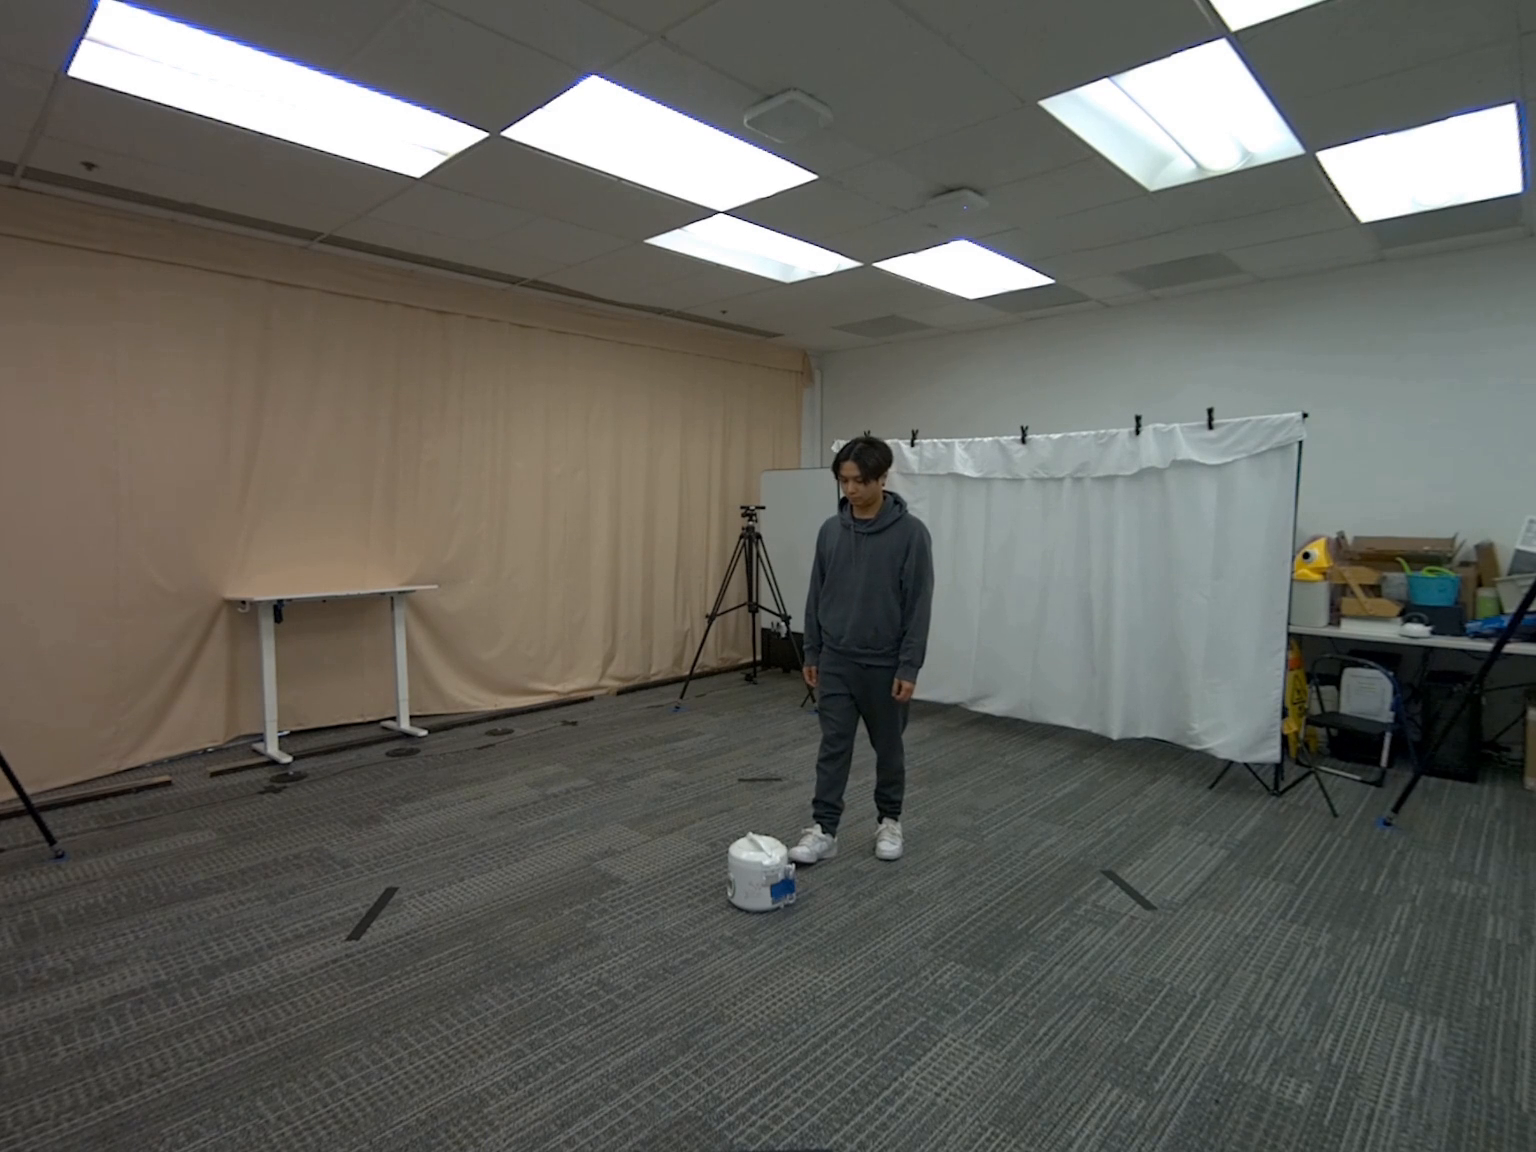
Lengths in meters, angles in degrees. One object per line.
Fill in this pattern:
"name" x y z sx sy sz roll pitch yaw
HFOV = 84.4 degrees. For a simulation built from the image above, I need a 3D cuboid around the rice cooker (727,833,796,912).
"rice cooker" -0.030 1.029 2.954 0.212 0.232 0.226 -1 4 -25
